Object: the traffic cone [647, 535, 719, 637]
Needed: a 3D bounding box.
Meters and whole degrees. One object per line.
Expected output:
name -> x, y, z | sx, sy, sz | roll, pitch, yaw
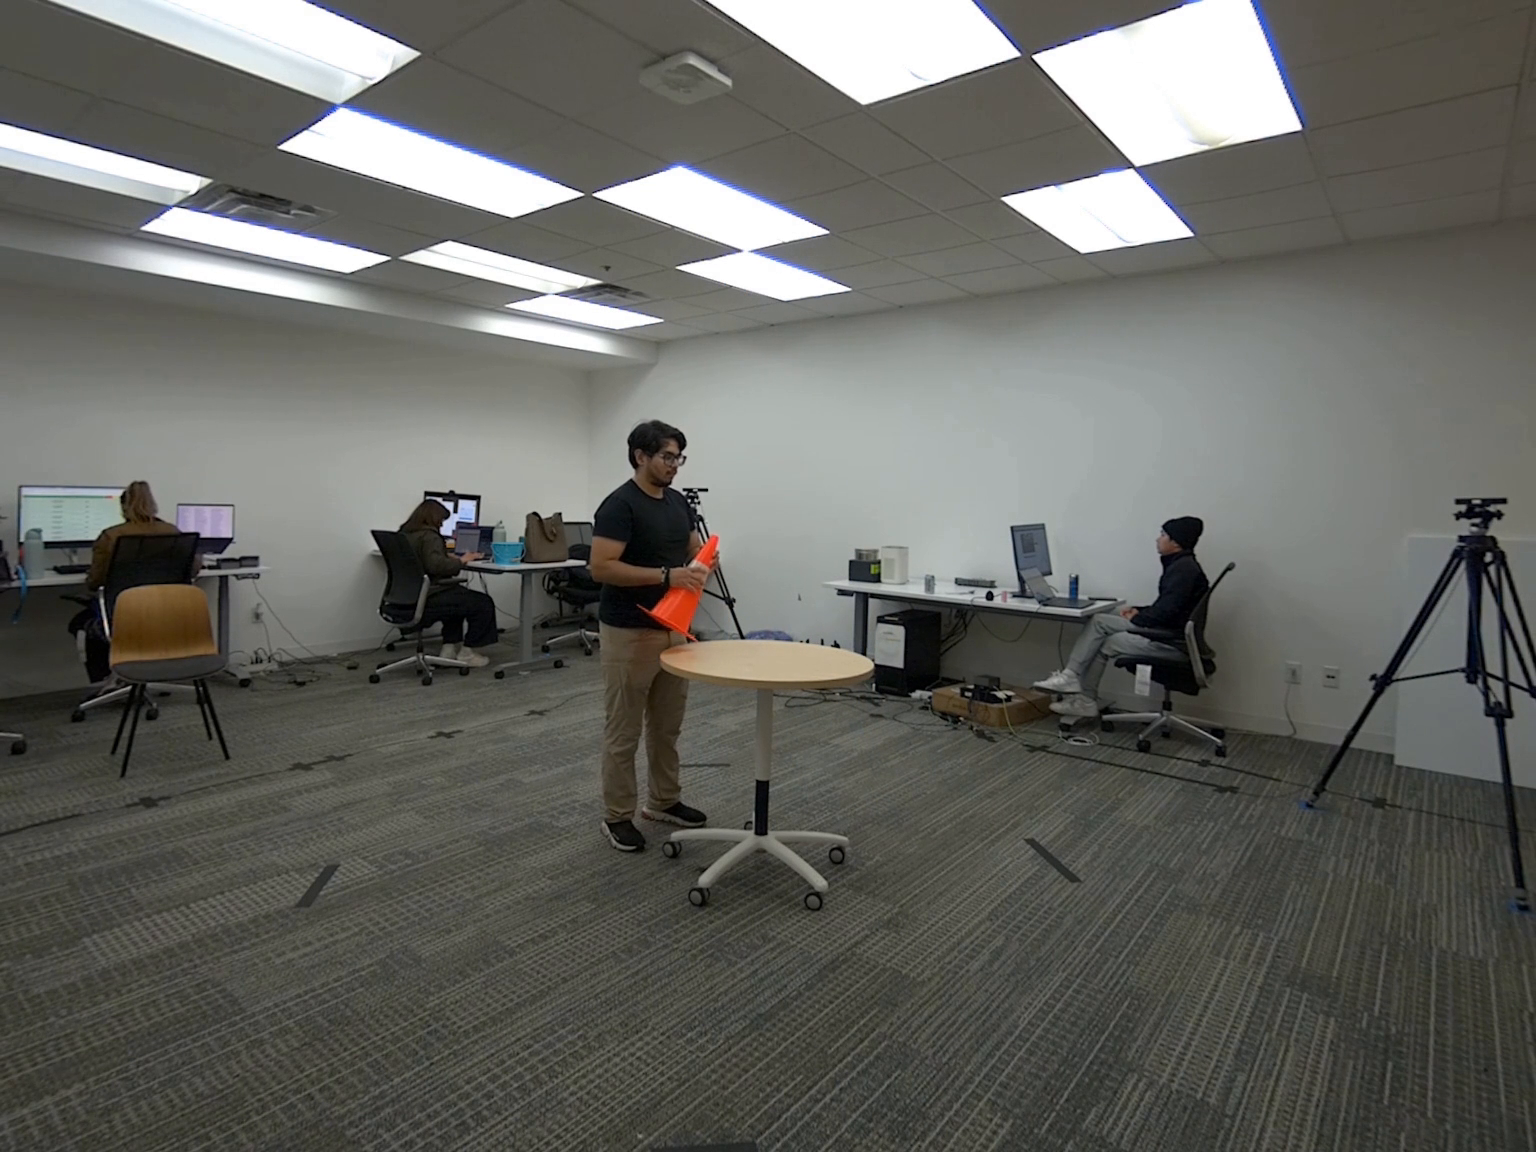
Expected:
traffic cone -> -0.295, 0.015, 3.188 | 0.213, 0.384, 0.195 | 26, -6, 31
